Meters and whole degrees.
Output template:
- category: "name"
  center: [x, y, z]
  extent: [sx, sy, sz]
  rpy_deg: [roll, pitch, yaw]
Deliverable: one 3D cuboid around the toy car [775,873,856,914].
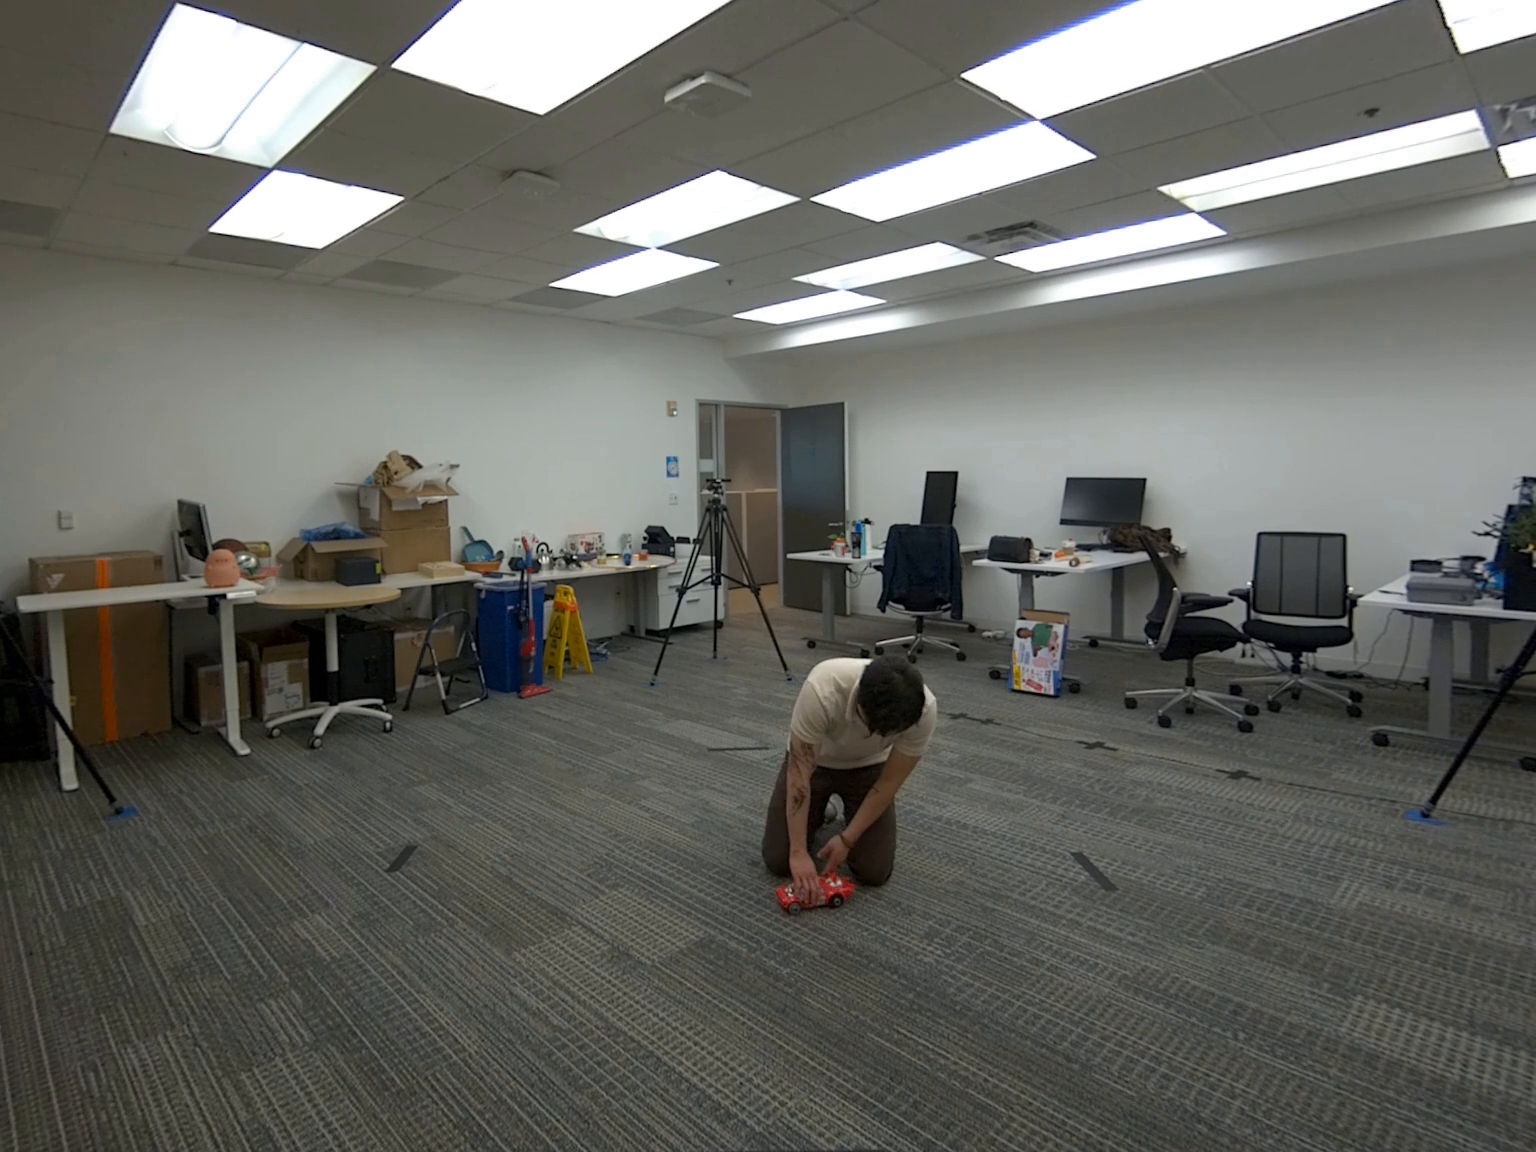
- category: "toy car"
  center: [0.159, 1.047, 2.804]
  extent: [0.252, 0.082, 0.133]
  rpy_deg: [-14, 8, -14]
